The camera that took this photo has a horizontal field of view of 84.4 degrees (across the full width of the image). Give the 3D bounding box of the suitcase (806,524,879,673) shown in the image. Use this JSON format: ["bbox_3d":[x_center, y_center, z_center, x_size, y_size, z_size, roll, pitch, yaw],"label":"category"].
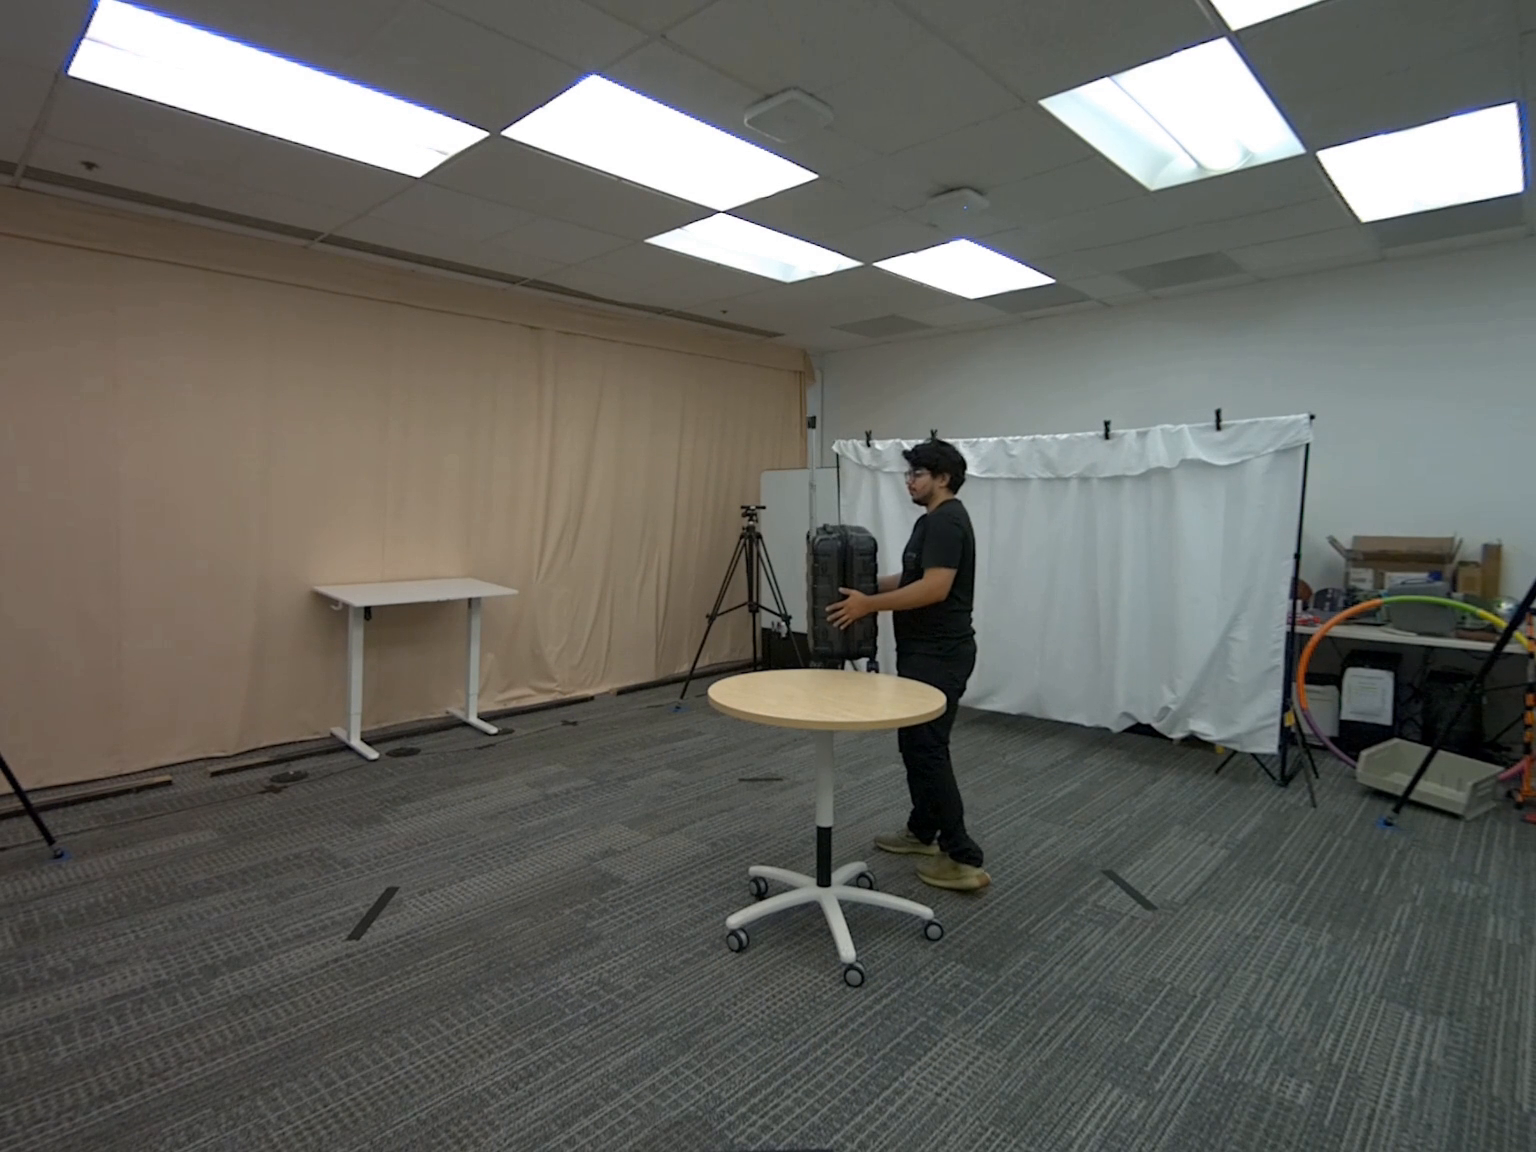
[{"bbox_3d":[0.296,-0.127,3.297,0.259,0.972,0.383,-1,9,6],"label":"suitcase"}]
